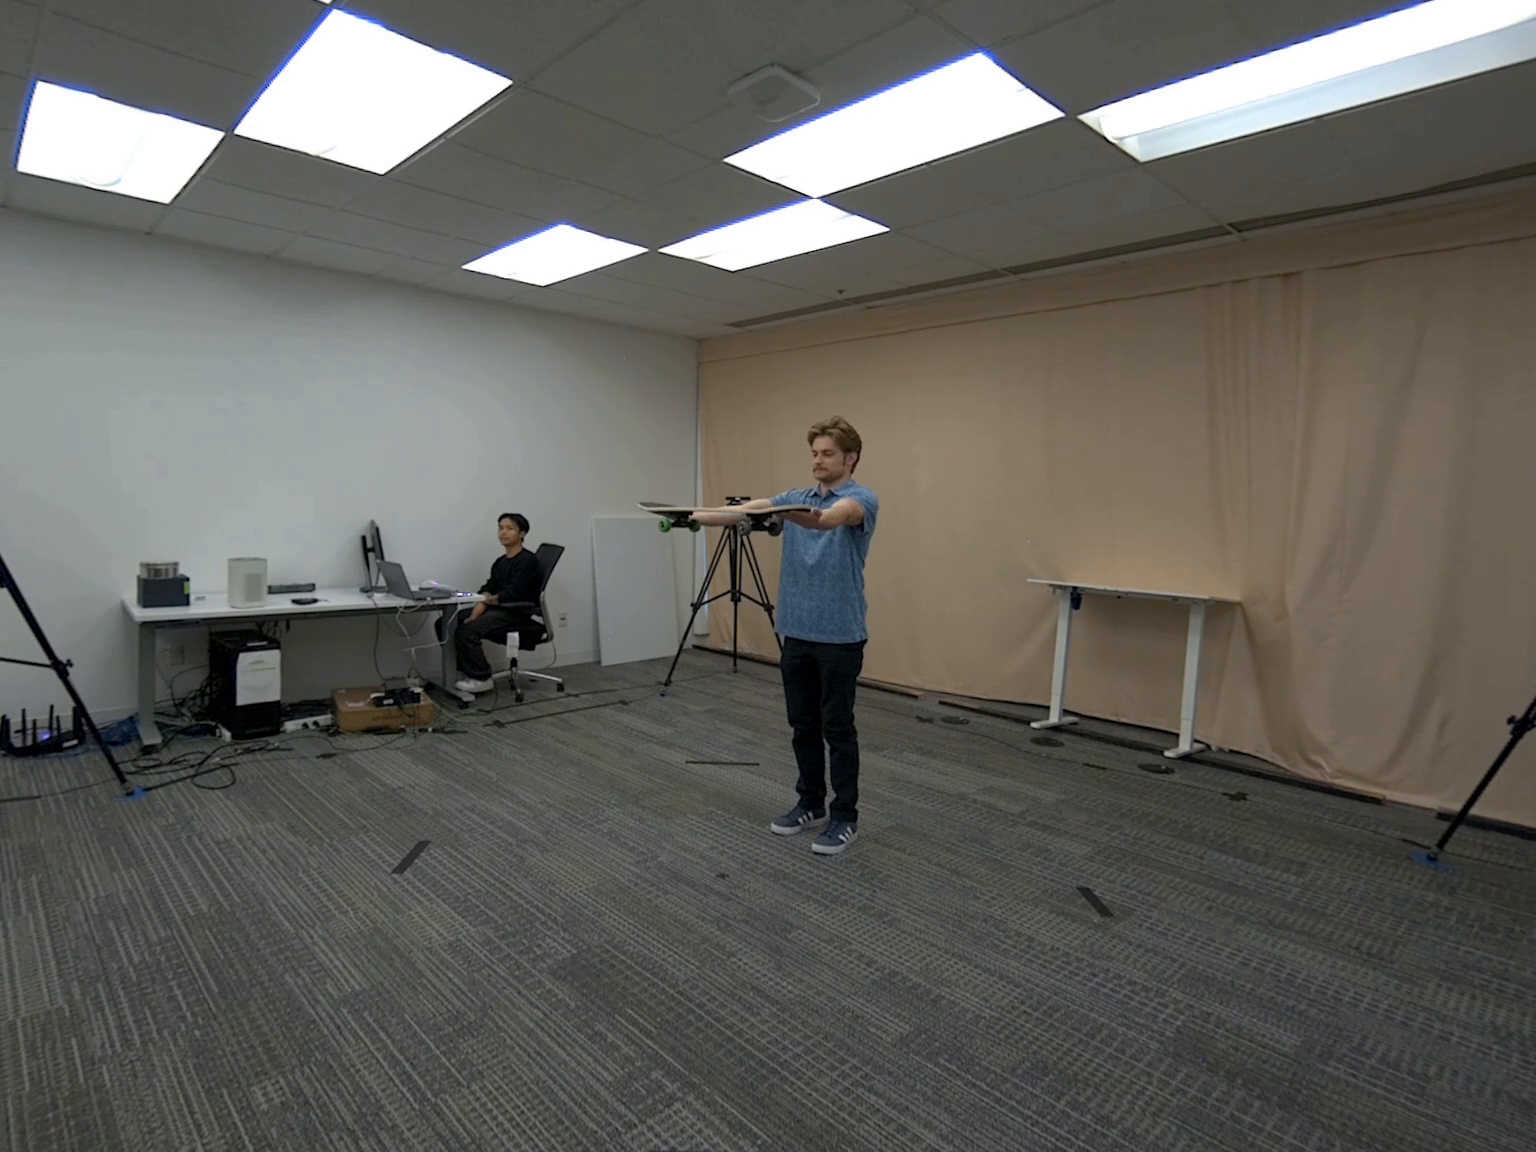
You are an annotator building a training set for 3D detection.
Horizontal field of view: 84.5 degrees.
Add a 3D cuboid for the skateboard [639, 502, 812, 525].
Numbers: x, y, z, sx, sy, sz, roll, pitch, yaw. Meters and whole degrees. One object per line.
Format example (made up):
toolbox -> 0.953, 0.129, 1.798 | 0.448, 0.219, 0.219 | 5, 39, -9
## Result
skateboard -> -0.175, -0.201, 3.011 | 0.805, 0.110, 0.189 | 5, 4, 43
